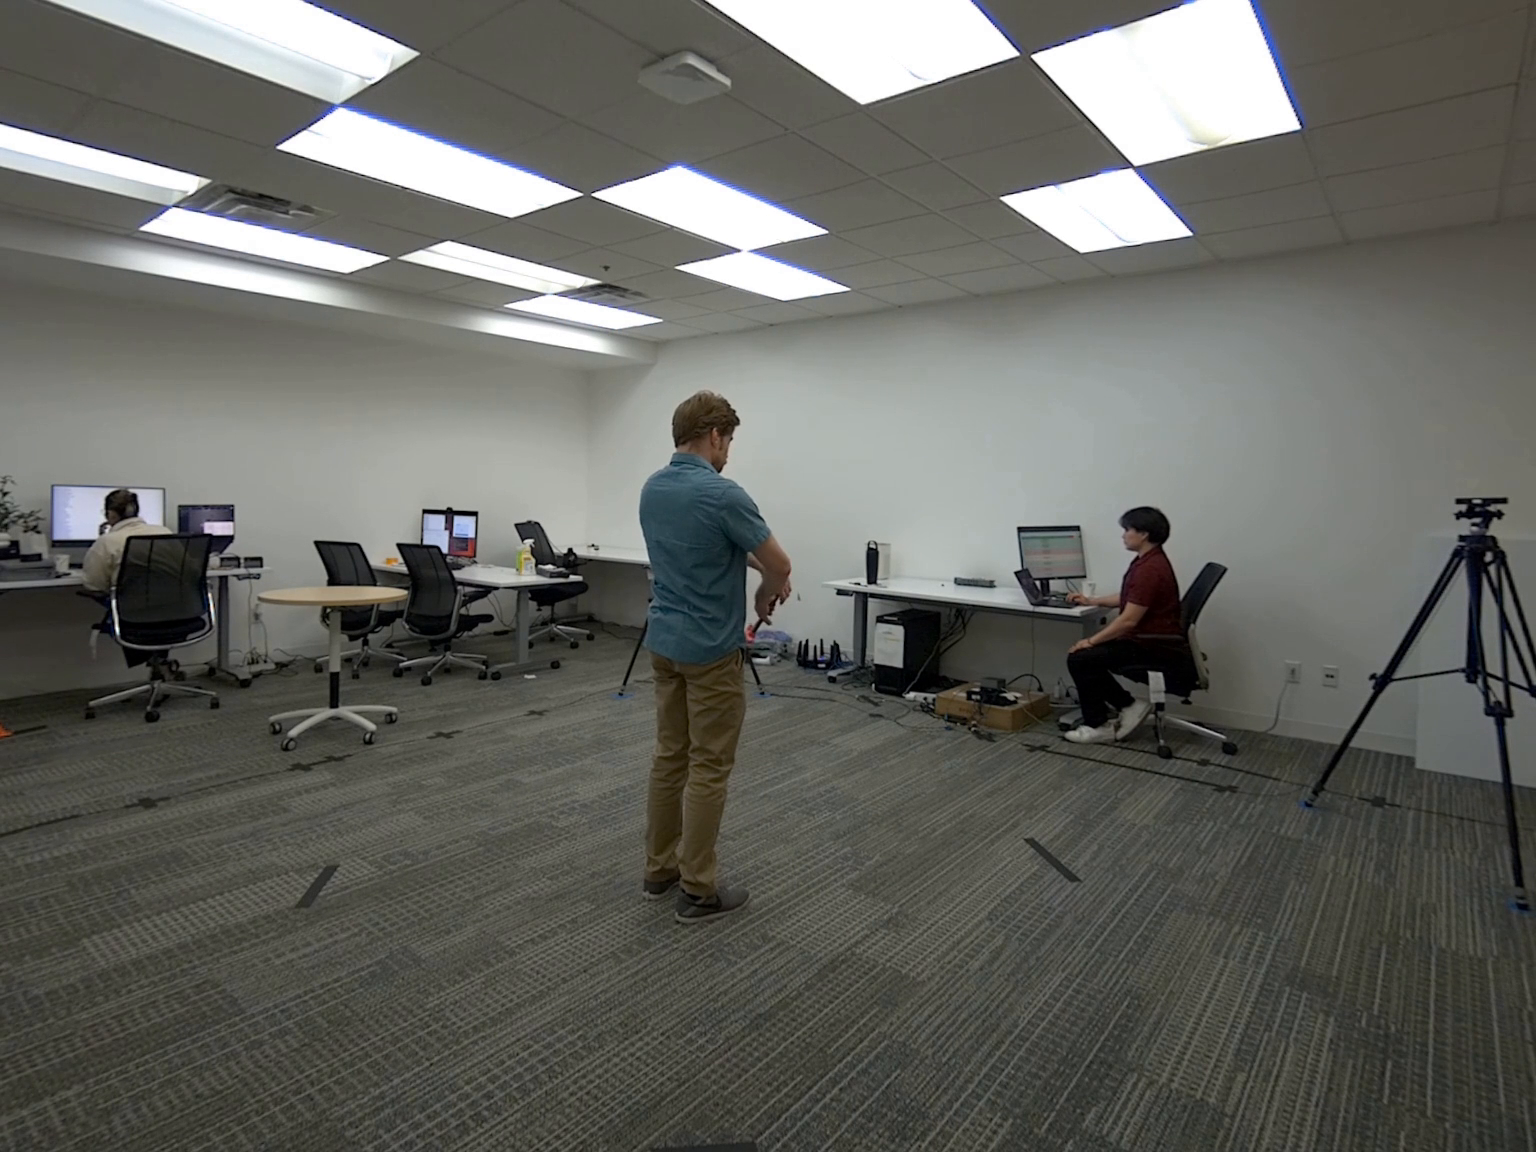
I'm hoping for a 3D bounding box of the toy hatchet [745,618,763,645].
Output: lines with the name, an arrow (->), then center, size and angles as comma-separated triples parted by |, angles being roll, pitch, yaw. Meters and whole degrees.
toy hatchet -> -0.033, 0.141, 3.087 | 0.029, 0.272, 0.133 | 37, -29, -18
